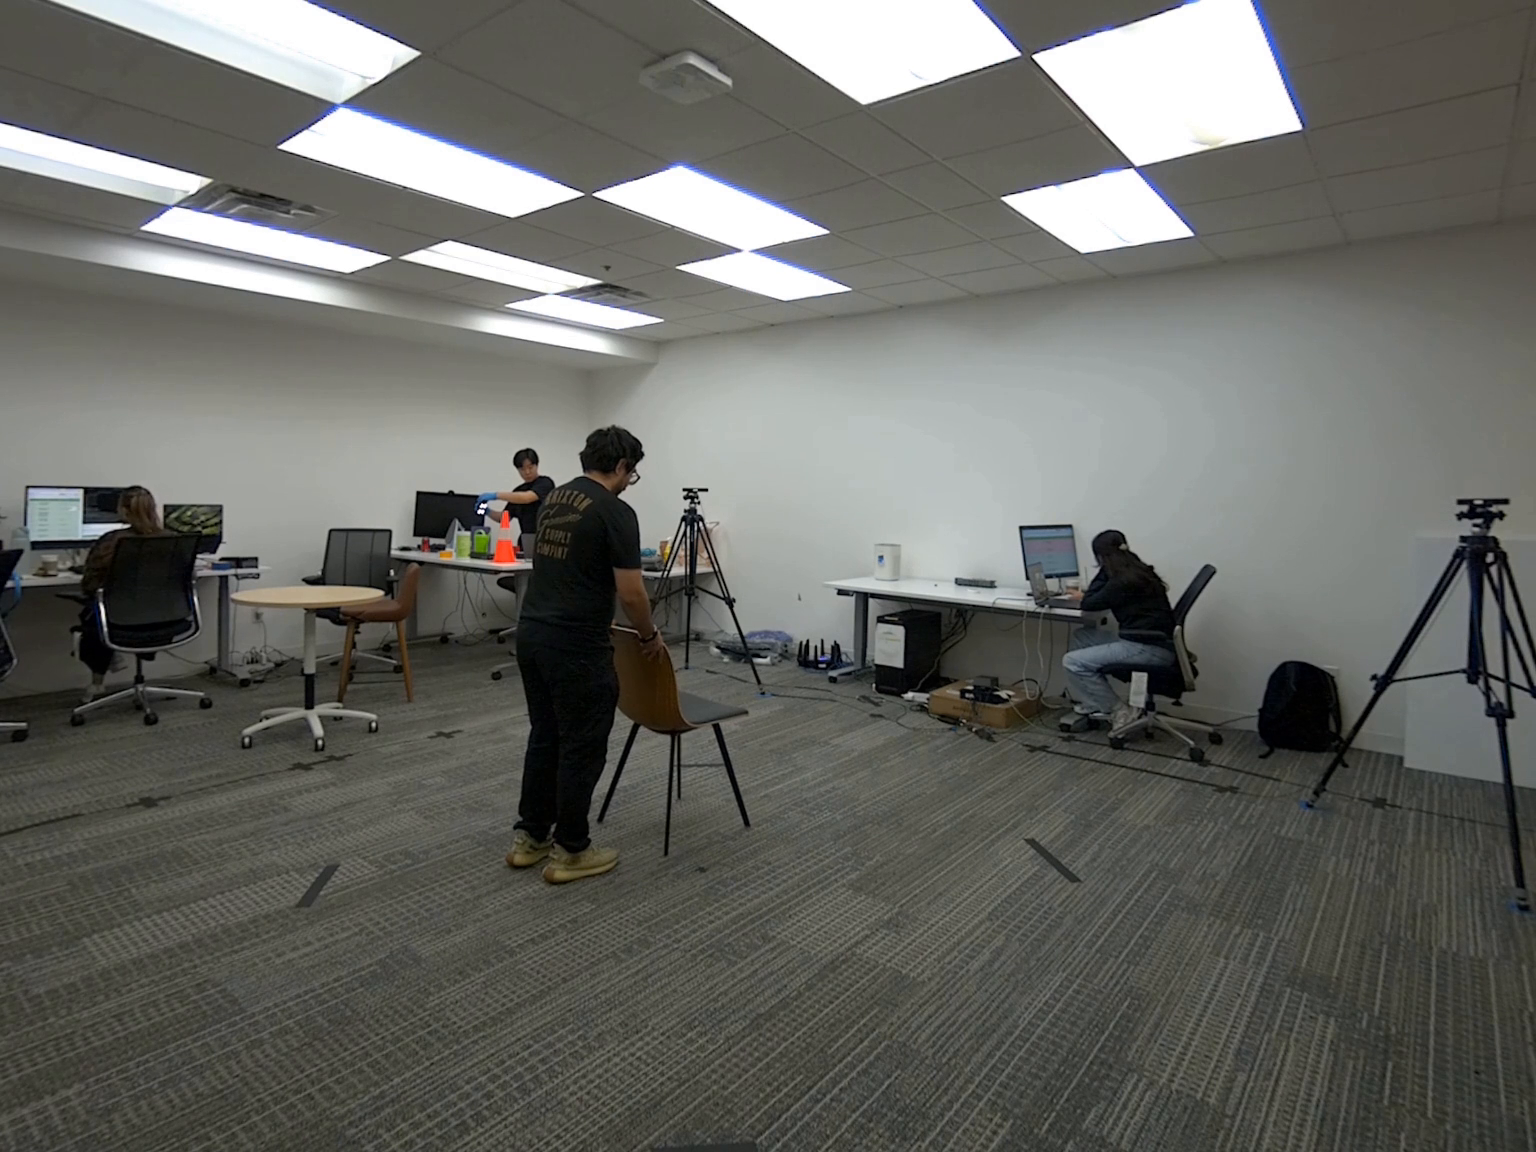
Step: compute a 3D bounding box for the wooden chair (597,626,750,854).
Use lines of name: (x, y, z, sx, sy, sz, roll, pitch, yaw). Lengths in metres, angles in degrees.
wooden chair: (-0.390, 0.601, 3.504, 0.509, 0.872, 0.494, -8, 8, -44)
